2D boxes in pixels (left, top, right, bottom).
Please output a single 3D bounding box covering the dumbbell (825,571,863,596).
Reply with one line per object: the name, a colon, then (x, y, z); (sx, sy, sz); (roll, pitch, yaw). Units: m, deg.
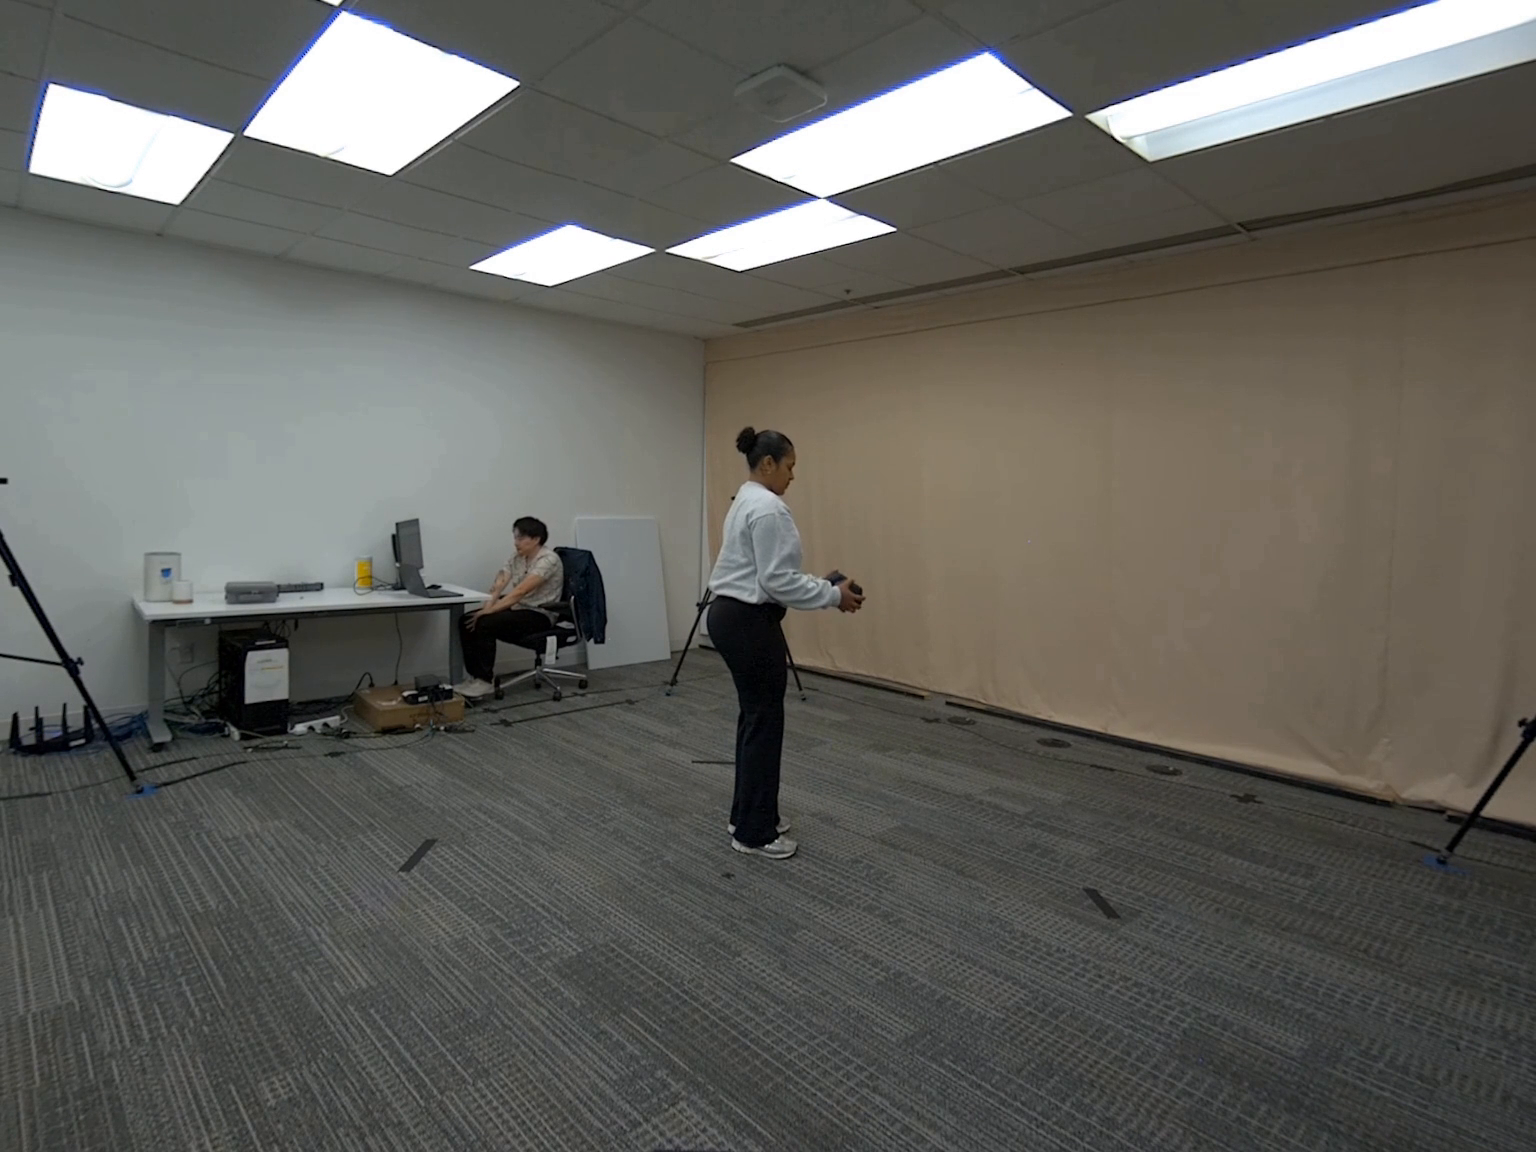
dumbbell: (0.284, 0.057, 3.402); (0.122, 0.108, 0.295); (33, 5, -7)
